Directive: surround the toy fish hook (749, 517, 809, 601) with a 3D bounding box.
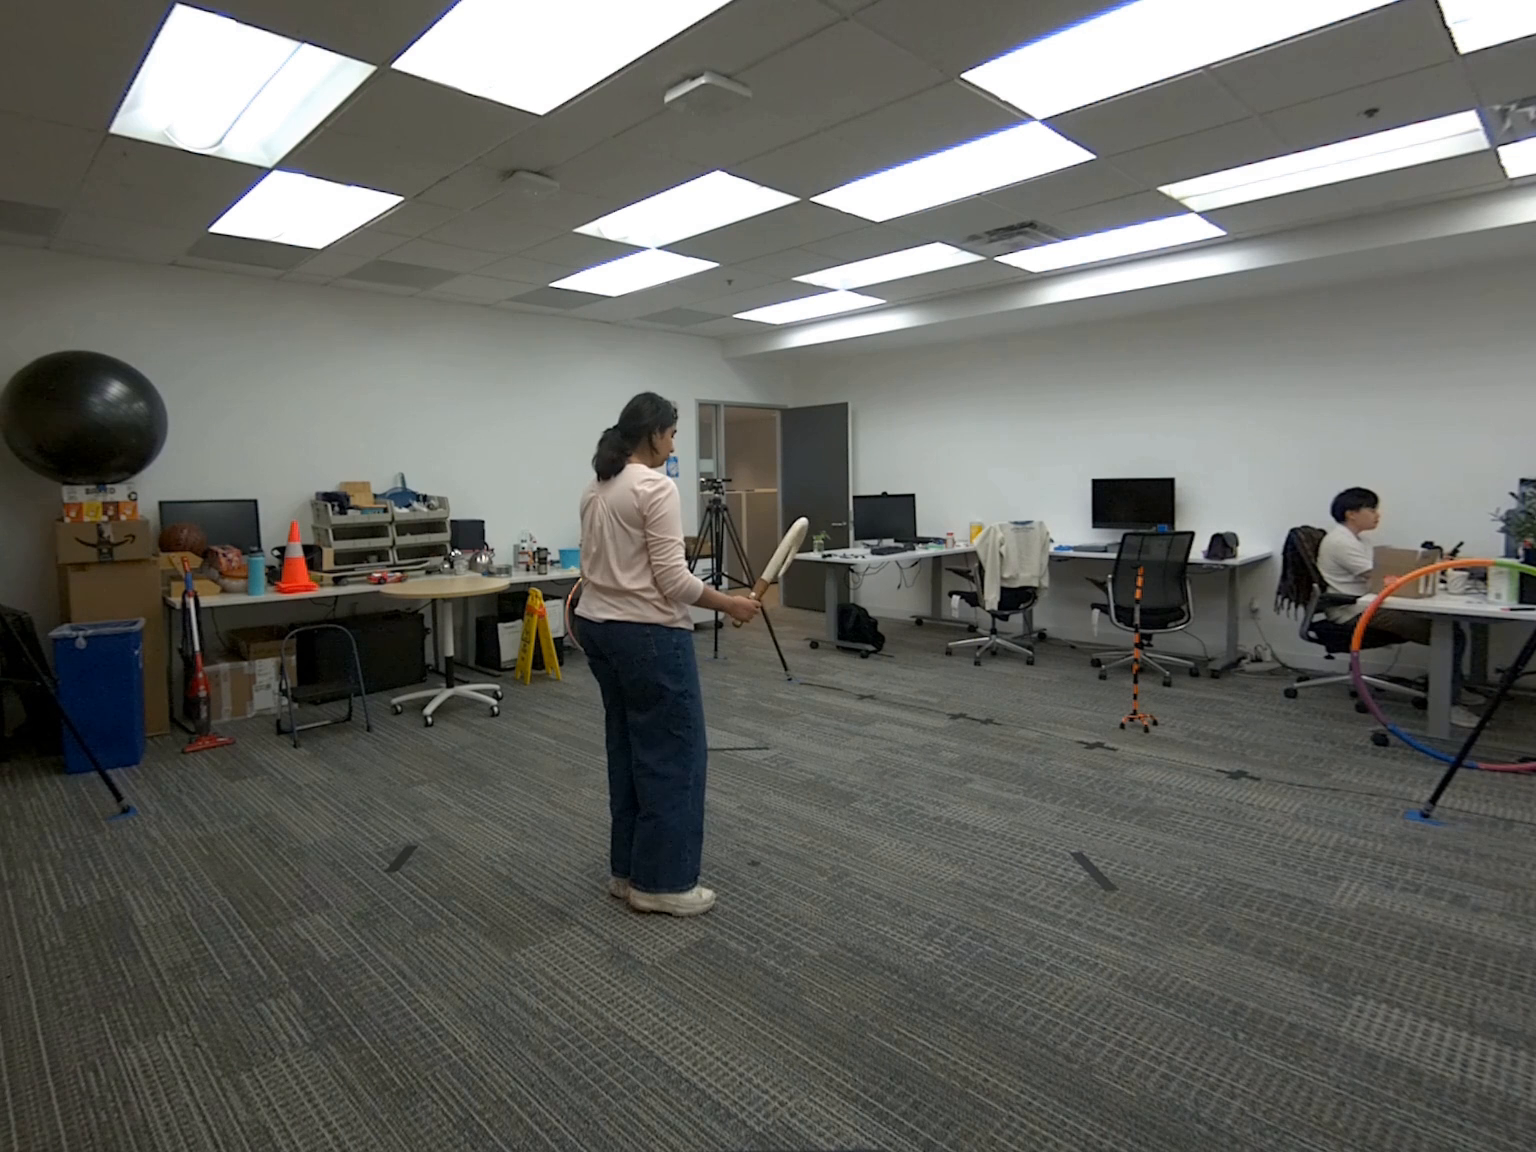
[{"bbox_3d":[0.014,0.008,3.025,0.049,0.509,0.218,25,-29,17],"label":"toy fish hook"}]
